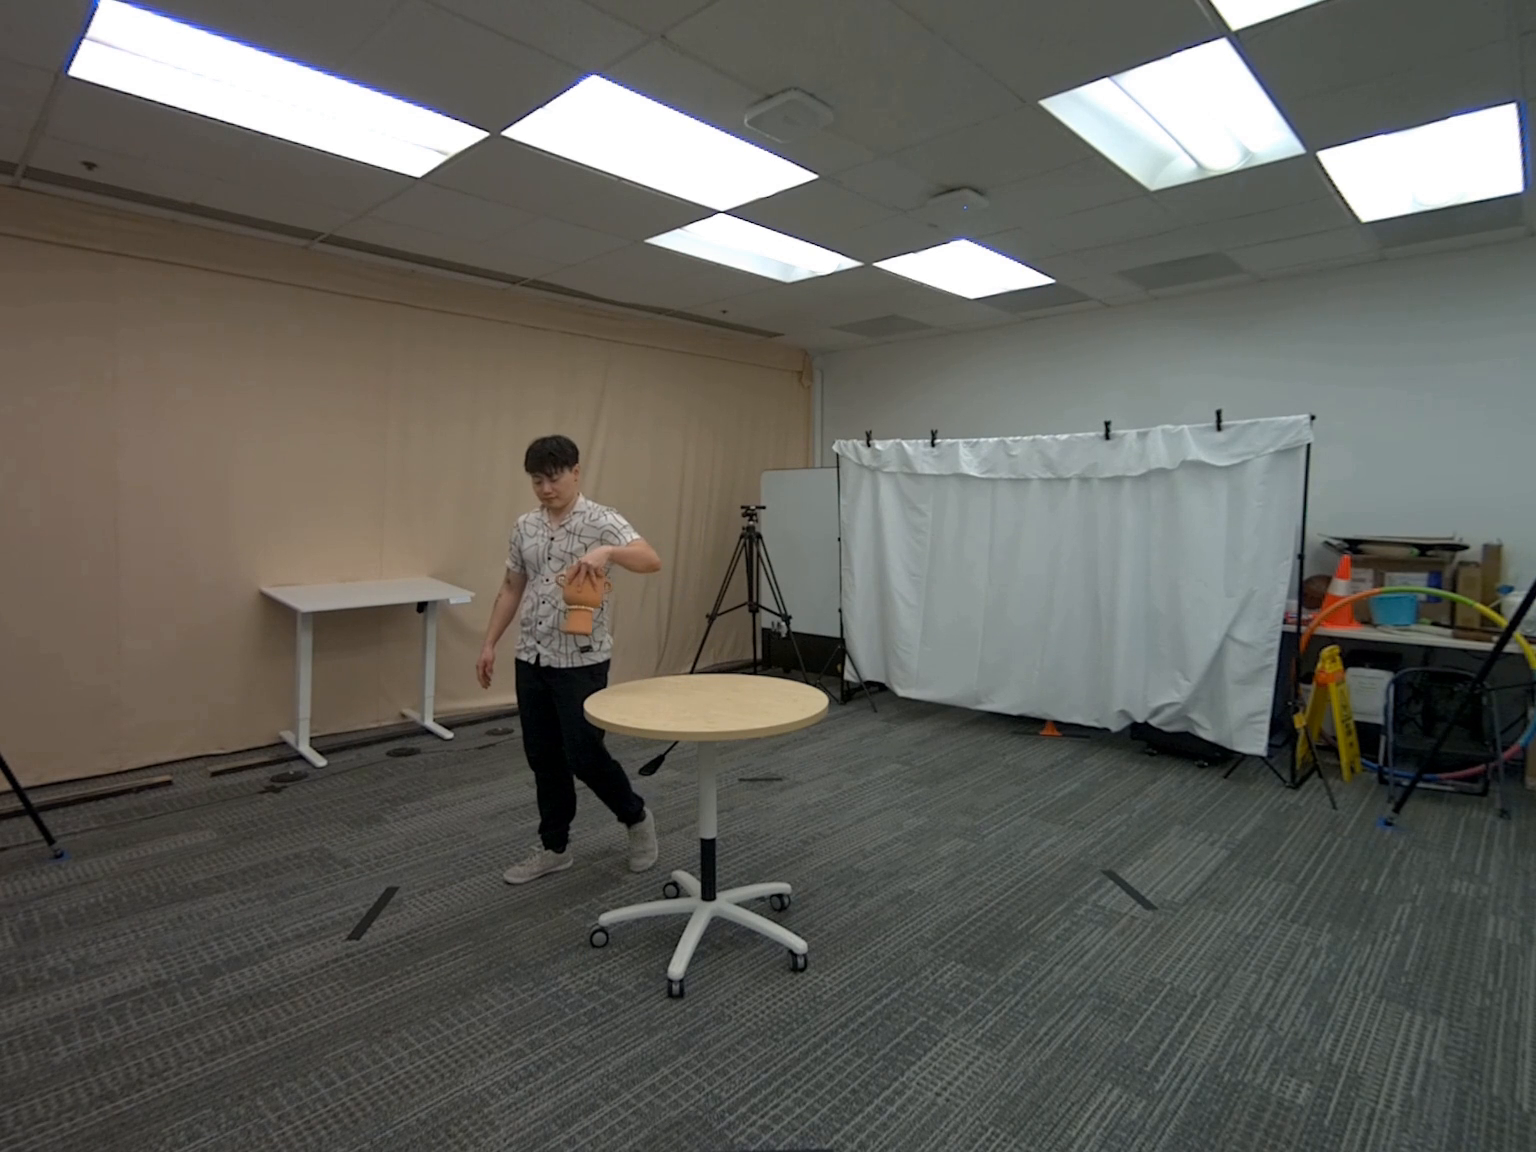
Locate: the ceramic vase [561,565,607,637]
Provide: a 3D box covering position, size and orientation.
[{"bbox_3d":[-0.620,0.084,2.831,0.161,0.221,0.131,0,-9,15],"label":"ceramic vase"}]
